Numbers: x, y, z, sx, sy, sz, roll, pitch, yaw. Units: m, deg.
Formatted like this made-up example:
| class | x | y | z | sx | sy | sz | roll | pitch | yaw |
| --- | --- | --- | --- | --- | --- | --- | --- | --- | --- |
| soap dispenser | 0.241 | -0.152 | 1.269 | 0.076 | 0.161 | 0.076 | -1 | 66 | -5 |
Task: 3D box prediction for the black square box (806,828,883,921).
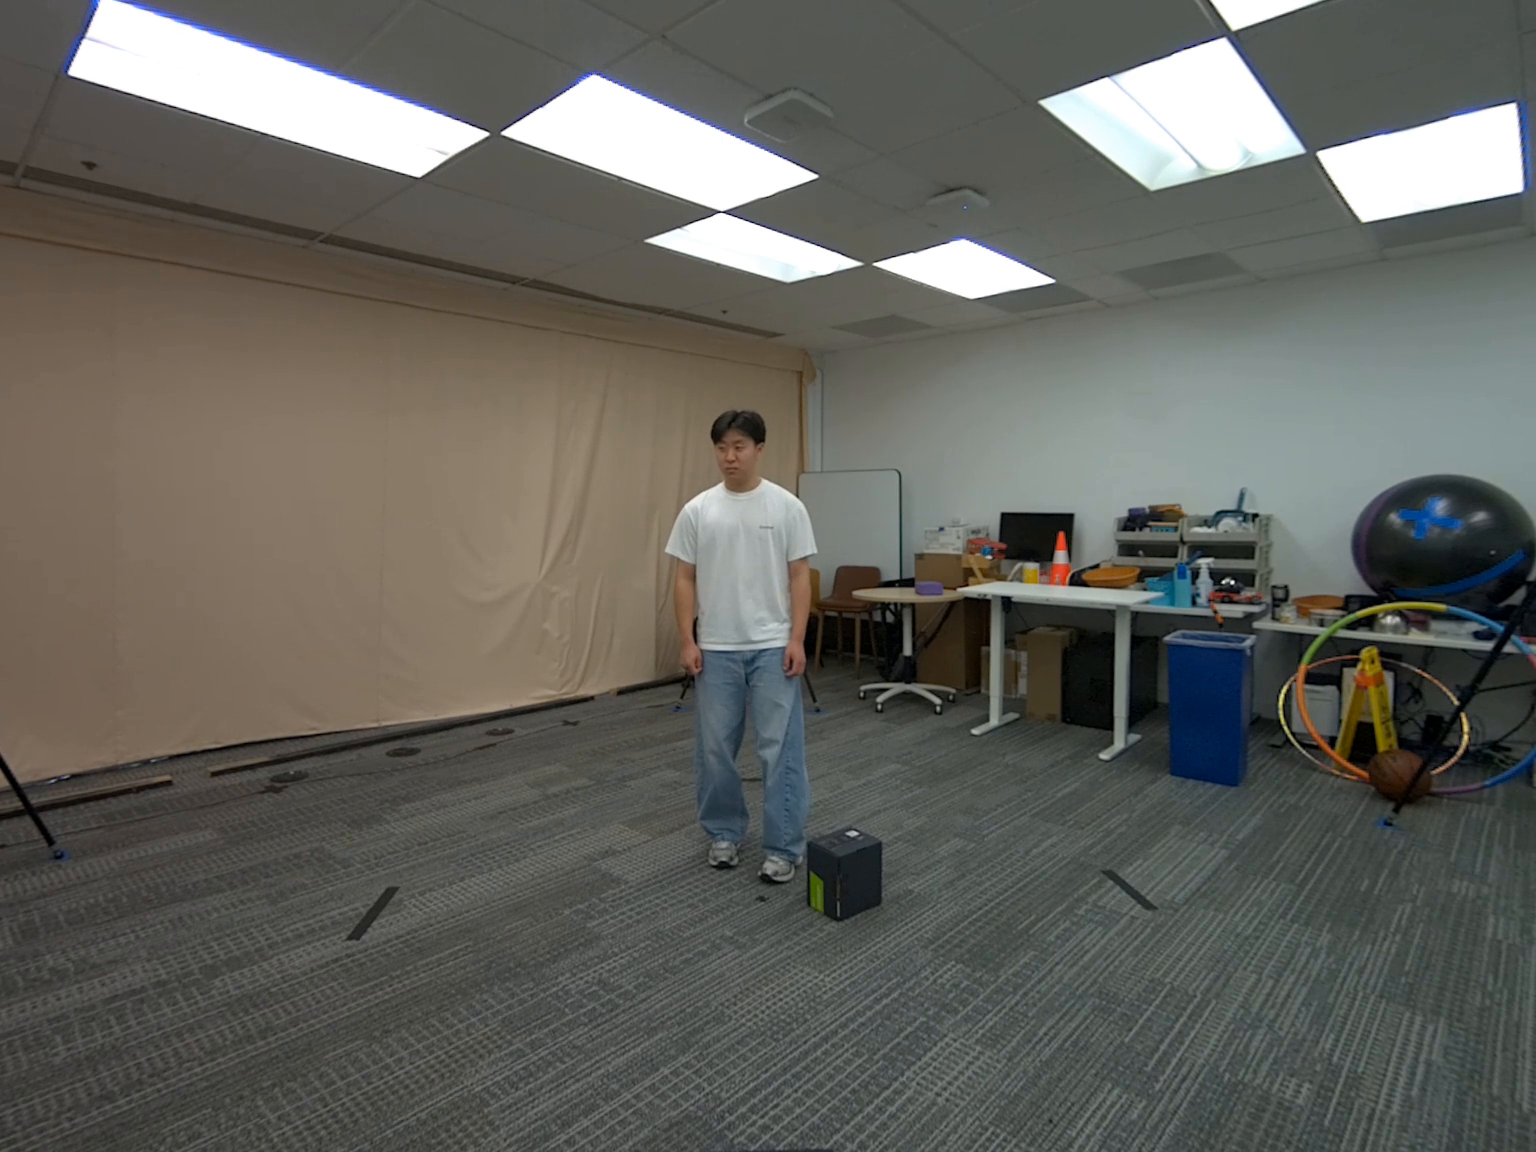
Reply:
| class | x | y | z | sx | sy | sz | roll | pitch | yaw |
| --- | --- | --- | --- | --- | --- | --- | --- | --- | --- |
| black square box | 0.270 | 1.029 | 2.922 | 0.210 | 0.227 | 0.161 | -4 | 6 | -39 |
